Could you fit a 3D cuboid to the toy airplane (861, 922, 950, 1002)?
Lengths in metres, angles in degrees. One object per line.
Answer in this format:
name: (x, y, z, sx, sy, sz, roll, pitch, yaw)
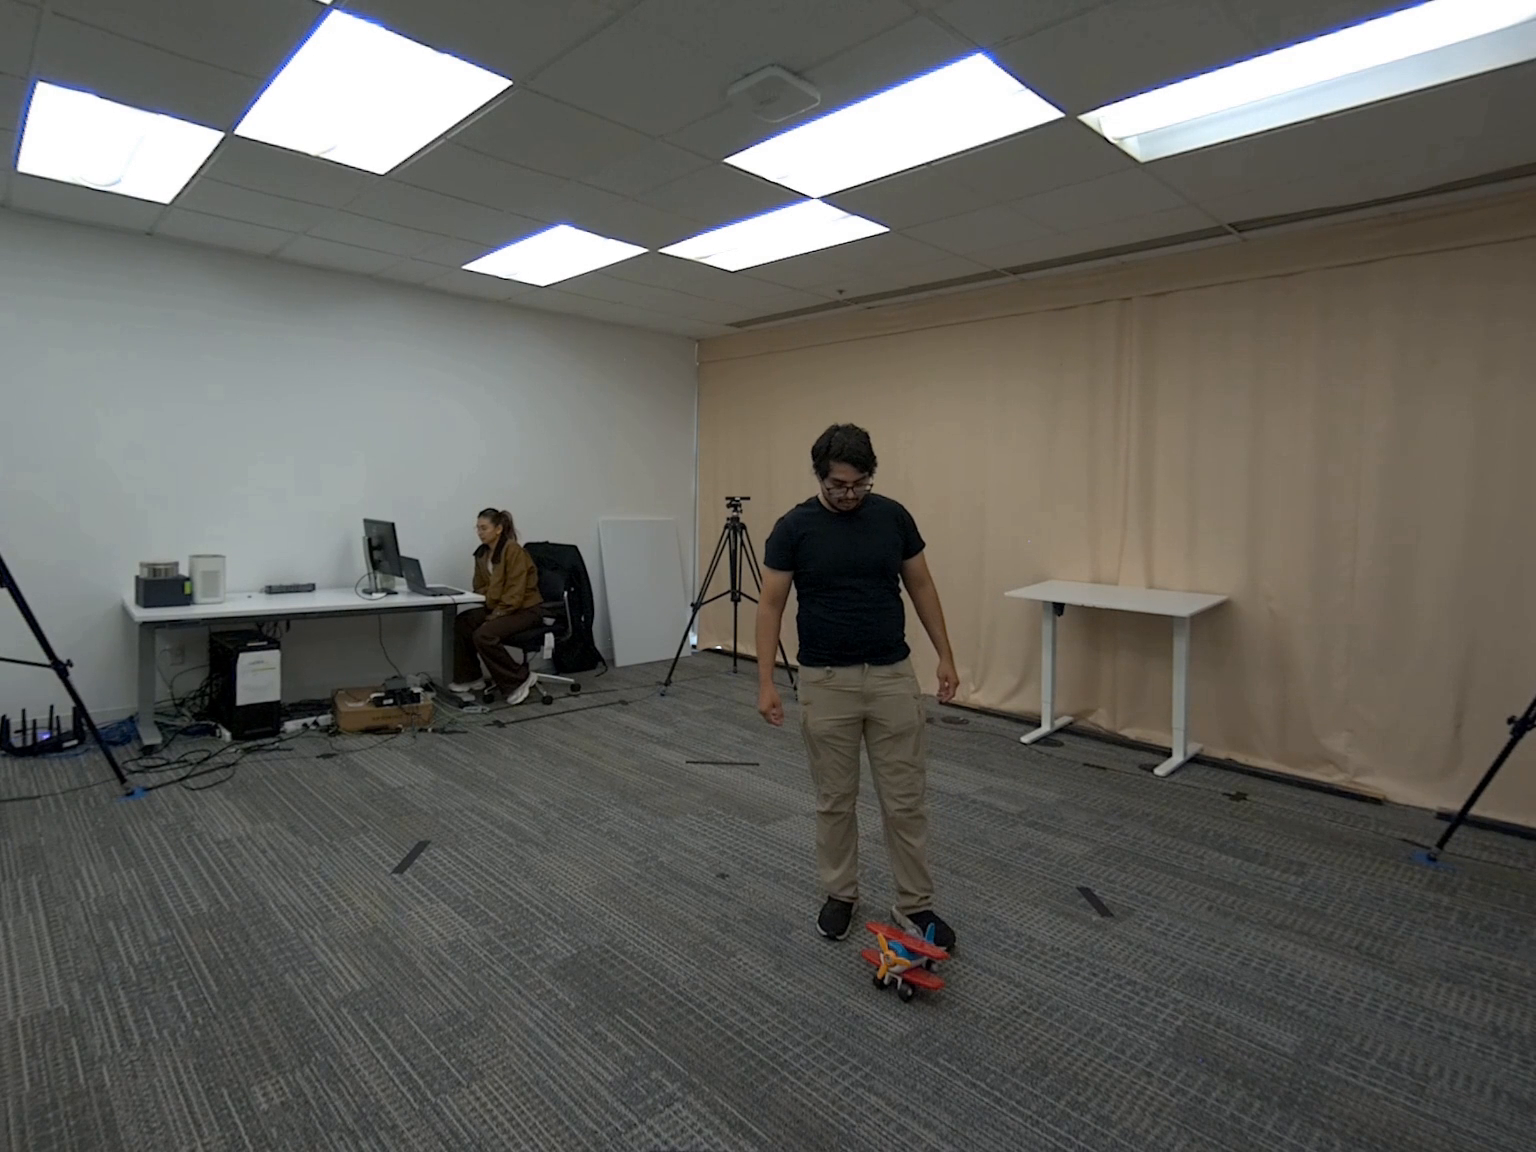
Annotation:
toy airplane: (0.390, 1.105, 2.453, 0.254, 0.156, 0.257, 3, 6, 13)
